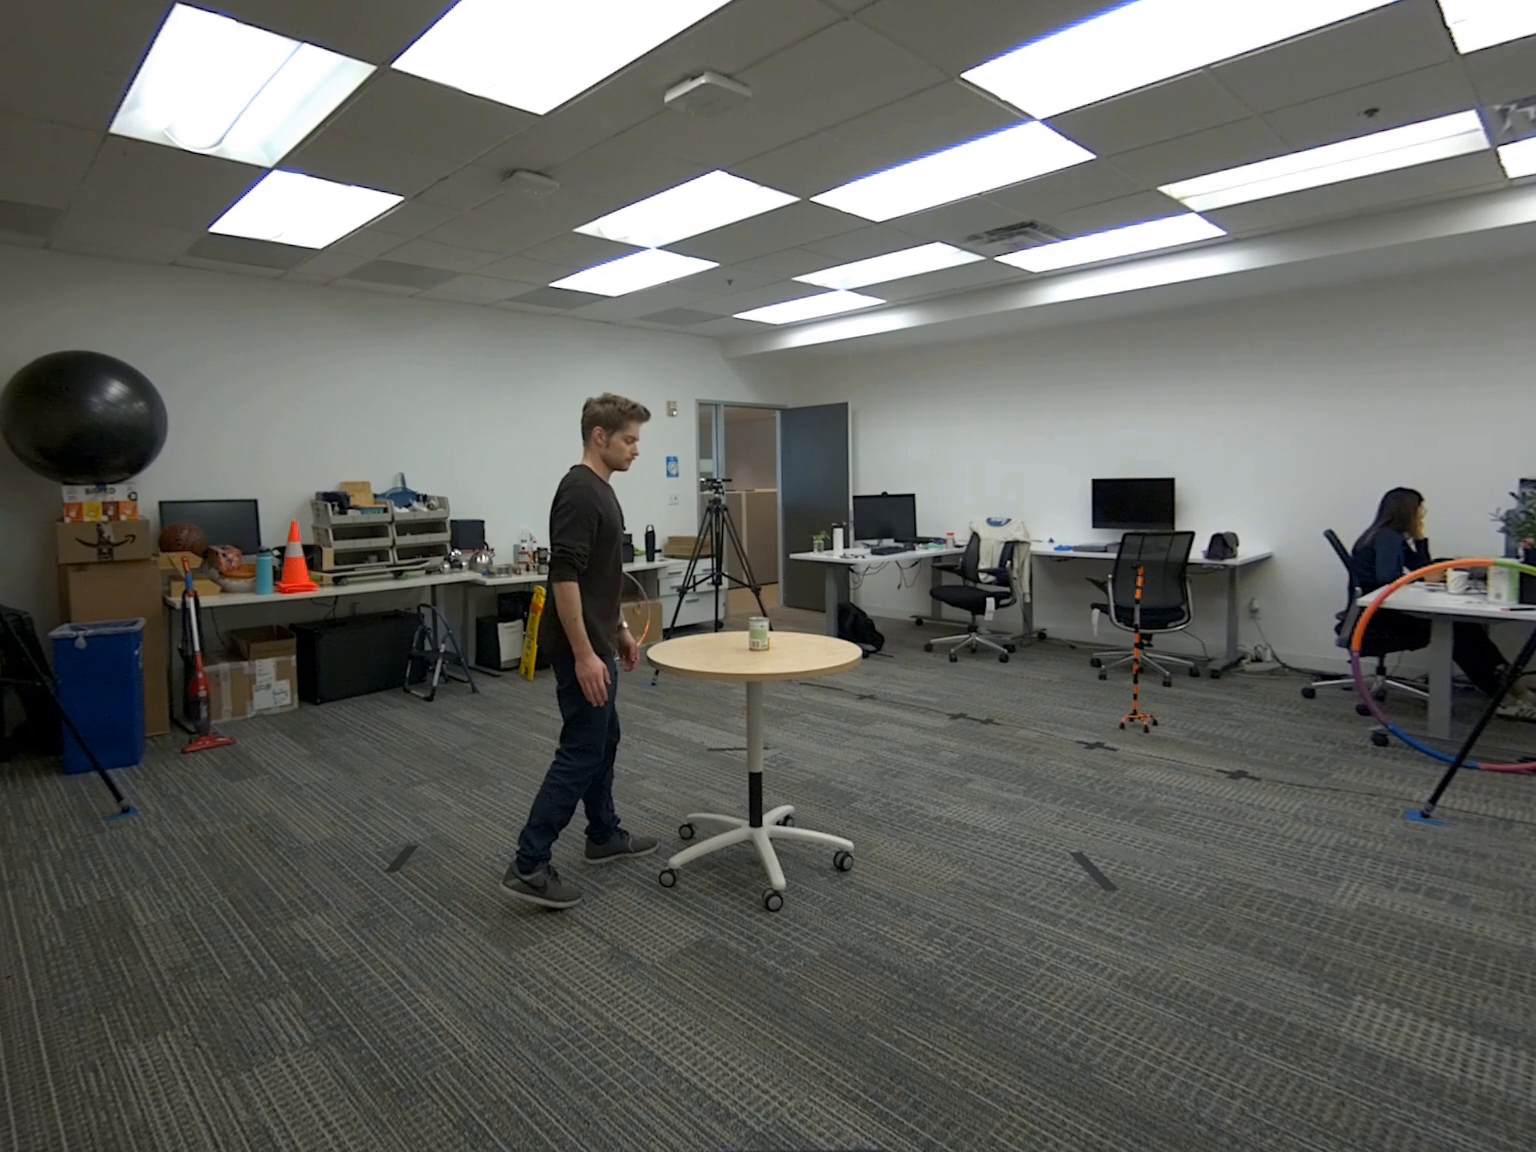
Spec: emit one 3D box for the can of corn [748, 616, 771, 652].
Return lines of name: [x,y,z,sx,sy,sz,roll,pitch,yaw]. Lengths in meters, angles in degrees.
can of corn: [-0.033,0.207,3.057,0.074,0.110,0.075,-1,6,-2]
